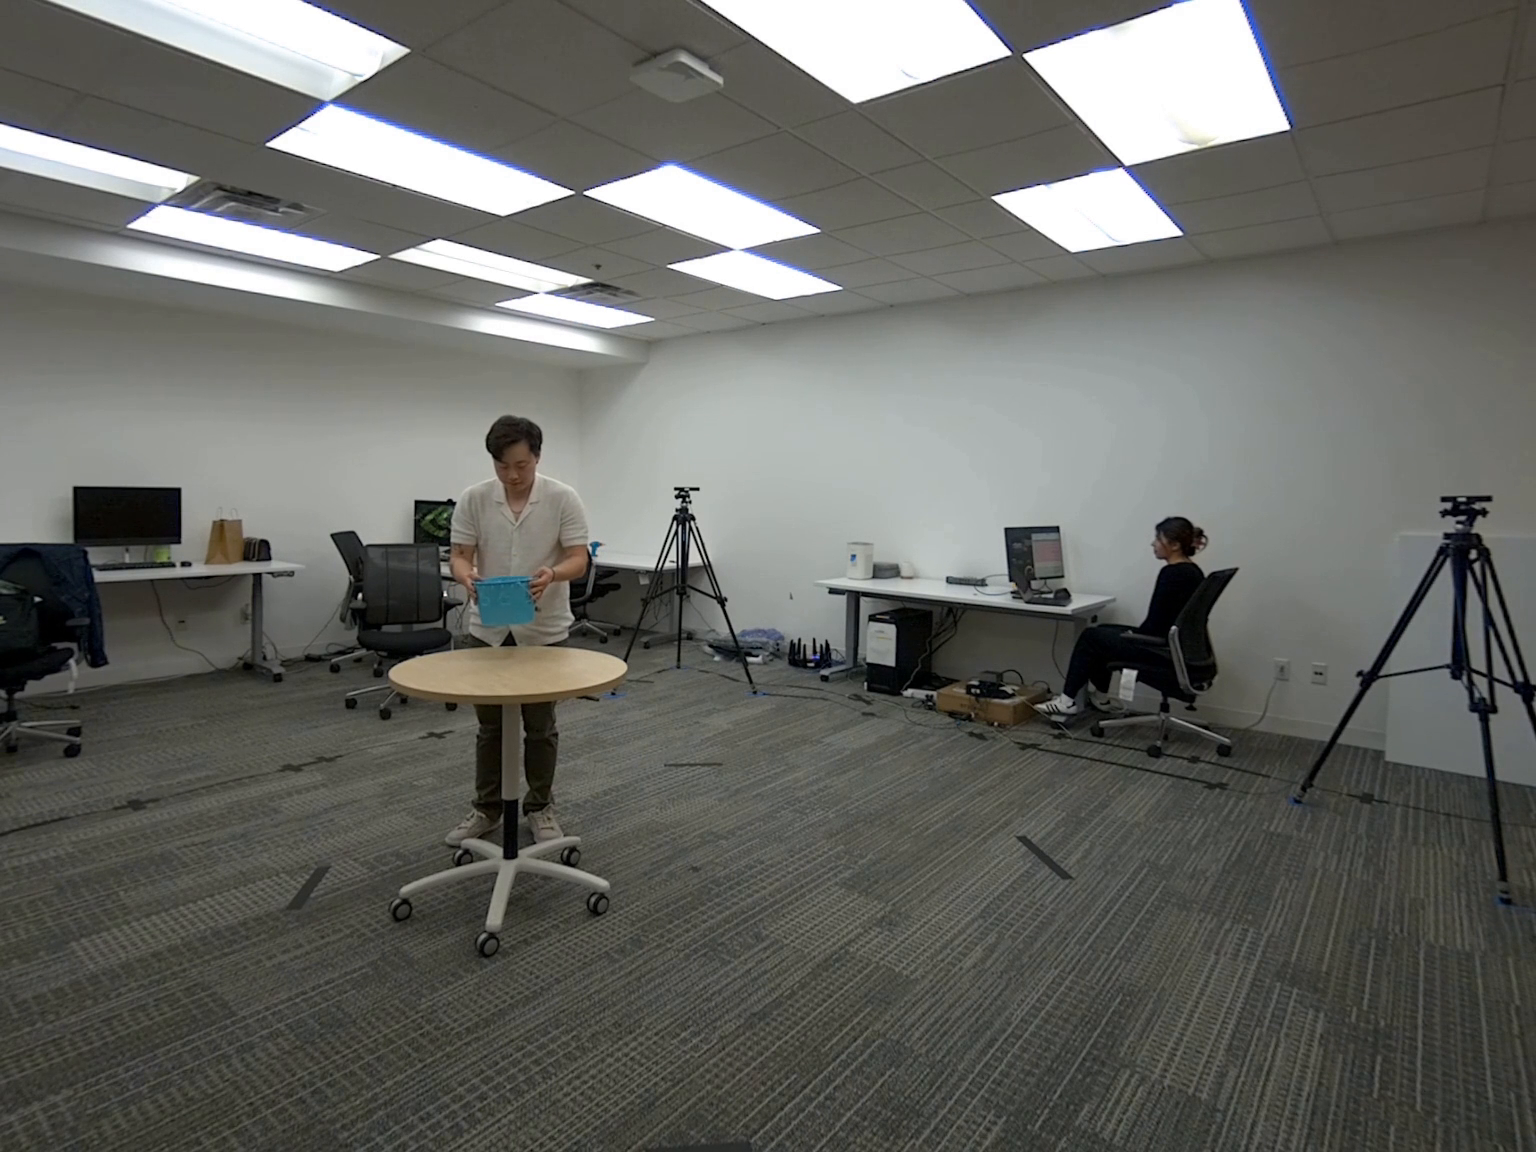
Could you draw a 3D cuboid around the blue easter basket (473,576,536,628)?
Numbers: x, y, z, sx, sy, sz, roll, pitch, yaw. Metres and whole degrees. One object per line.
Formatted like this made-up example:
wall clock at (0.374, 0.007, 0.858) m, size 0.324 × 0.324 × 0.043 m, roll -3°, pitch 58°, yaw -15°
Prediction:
blue easter basket at (-0.924, 0.086, 2.998) m, size 0.243 × 0.155 × 0.245 m, roll -3°, pitch 4°, yaw -2°
